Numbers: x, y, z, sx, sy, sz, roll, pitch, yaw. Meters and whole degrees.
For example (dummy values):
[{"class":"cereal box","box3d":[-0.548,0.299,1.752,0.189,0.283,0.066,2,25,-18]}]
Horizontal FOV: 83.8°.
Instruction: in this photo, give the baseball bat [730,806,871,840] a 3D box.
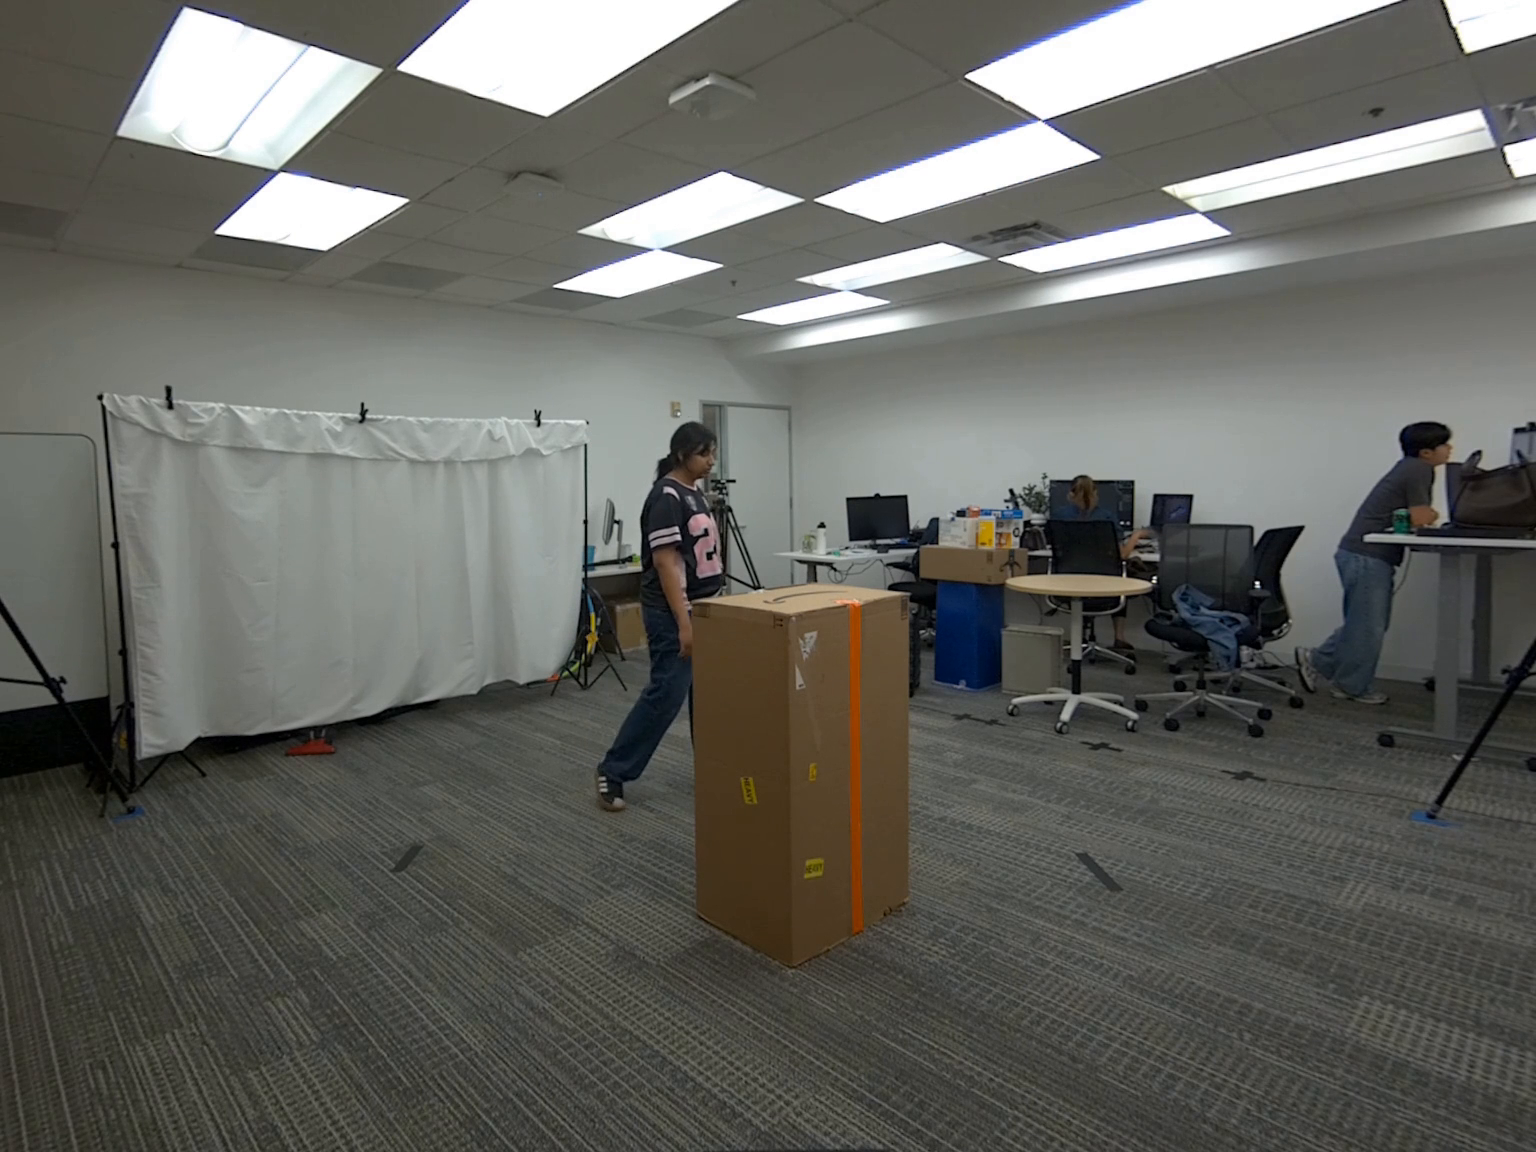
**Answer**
[{"class":"baseball bat","box3d":[0.126,0.978,3.402,0.538,0.089,0.090,1,4,-9]}]
